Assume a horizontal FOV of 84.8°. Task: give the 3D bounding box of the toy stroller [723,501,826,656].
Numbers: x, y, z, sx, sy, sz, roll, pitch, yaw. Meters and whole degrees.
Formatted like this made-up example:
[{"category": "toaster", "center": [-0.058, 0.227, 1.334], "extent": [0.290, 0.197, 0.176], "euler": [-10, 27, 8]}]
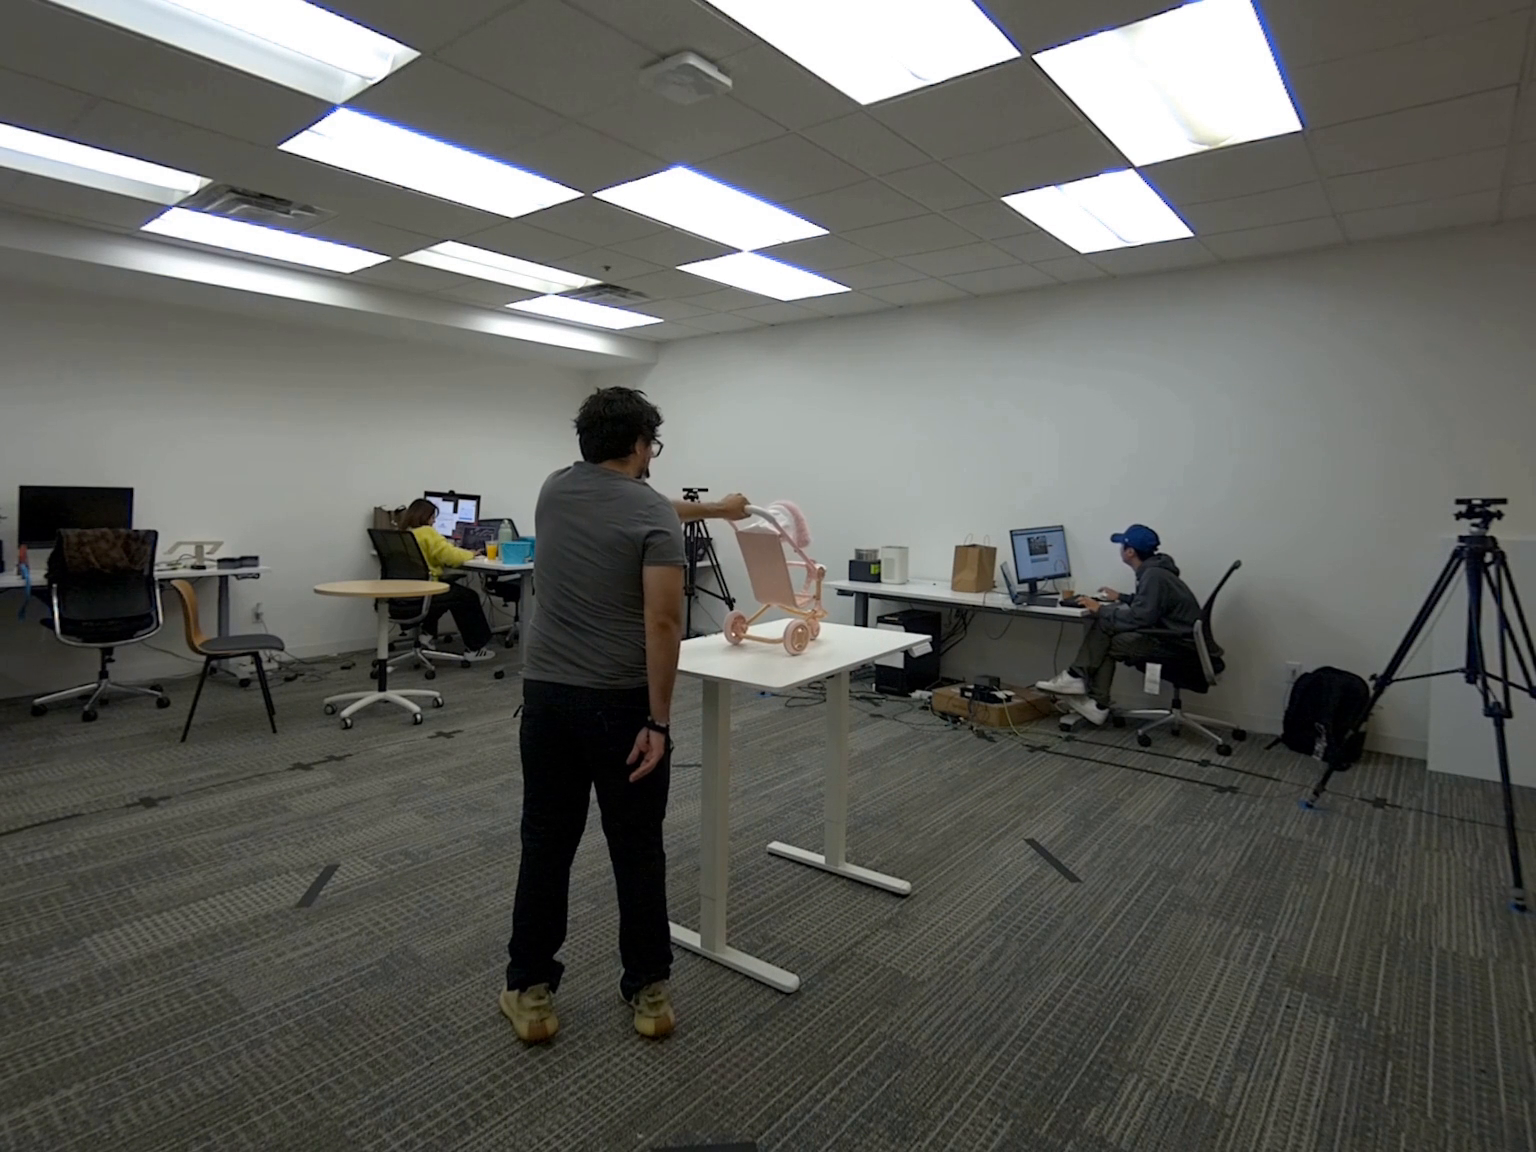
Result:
[{"category": "toy stroller", "center": [0.031, -0.004, 2.738], "extent": [0.291, 0.528, 0.334], "euler": [5, 17, 44]}]
